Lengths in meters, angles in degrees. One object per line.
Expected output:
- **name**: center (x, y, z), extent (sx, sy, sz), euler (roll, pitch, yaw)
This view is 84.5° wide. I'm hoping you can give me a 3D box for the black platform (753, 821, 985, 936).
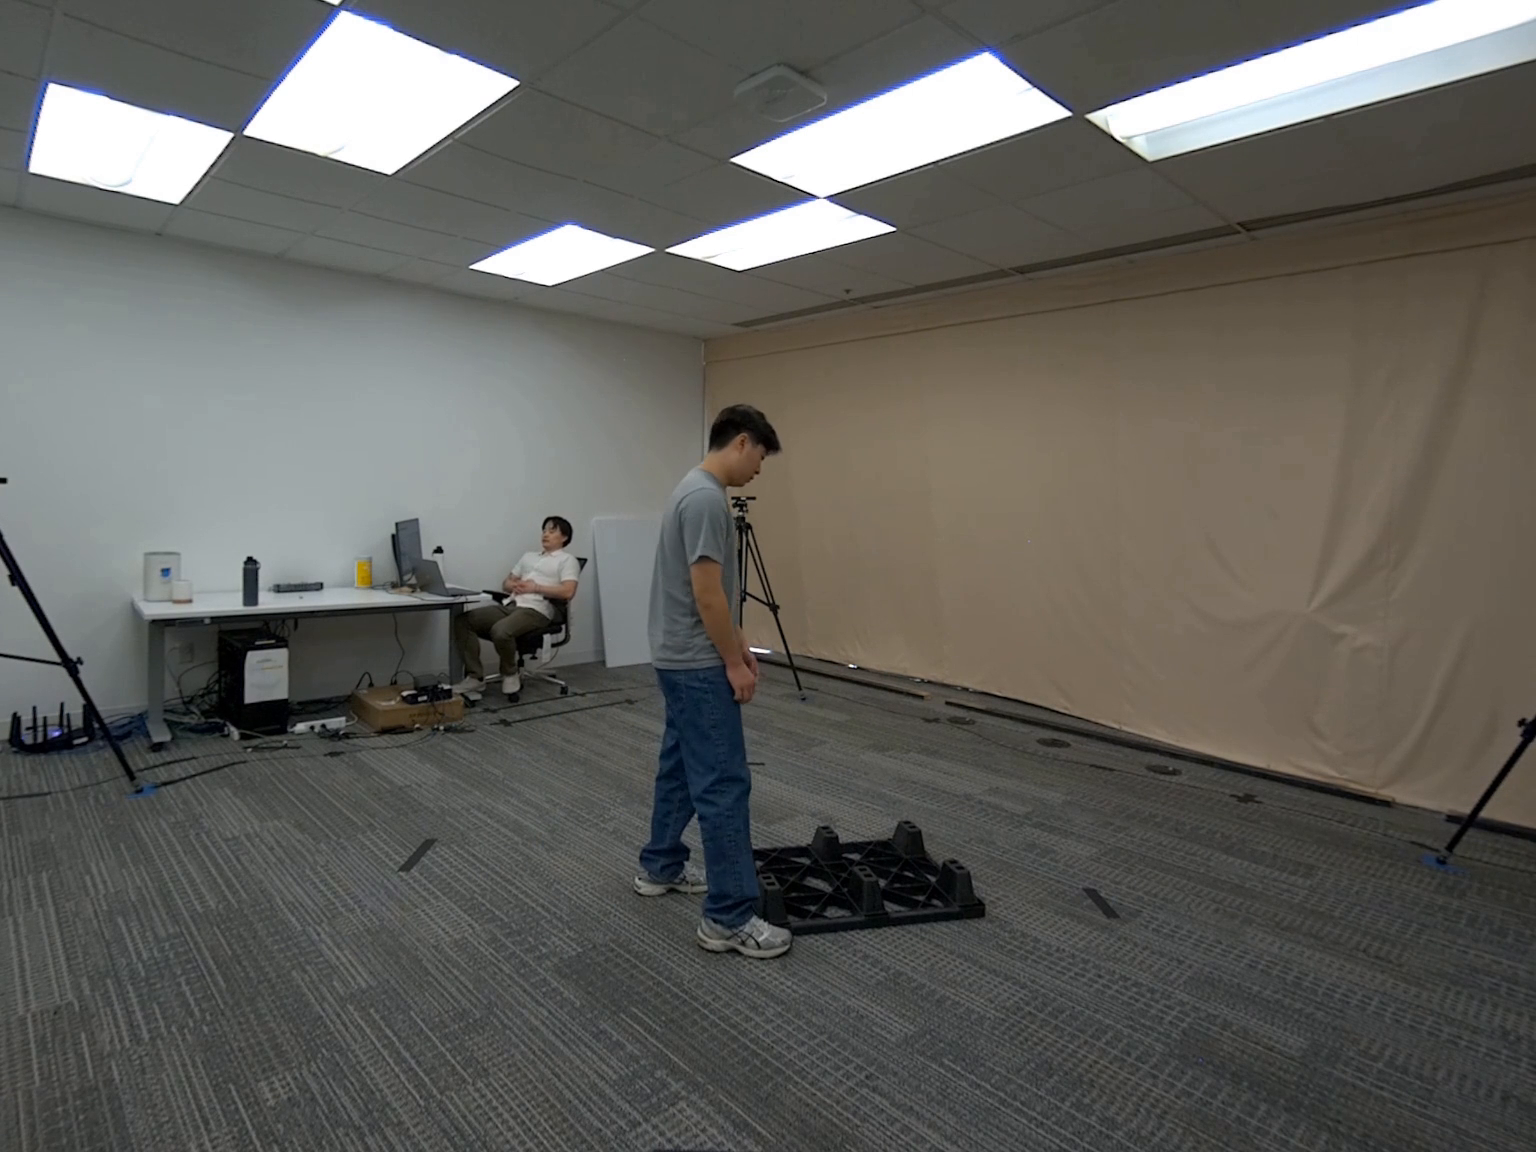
- **black platform**: center (0.271, 1.054, 3.037), extent (0.796, 0.143, 0.614), euler (0, 6, -15)
